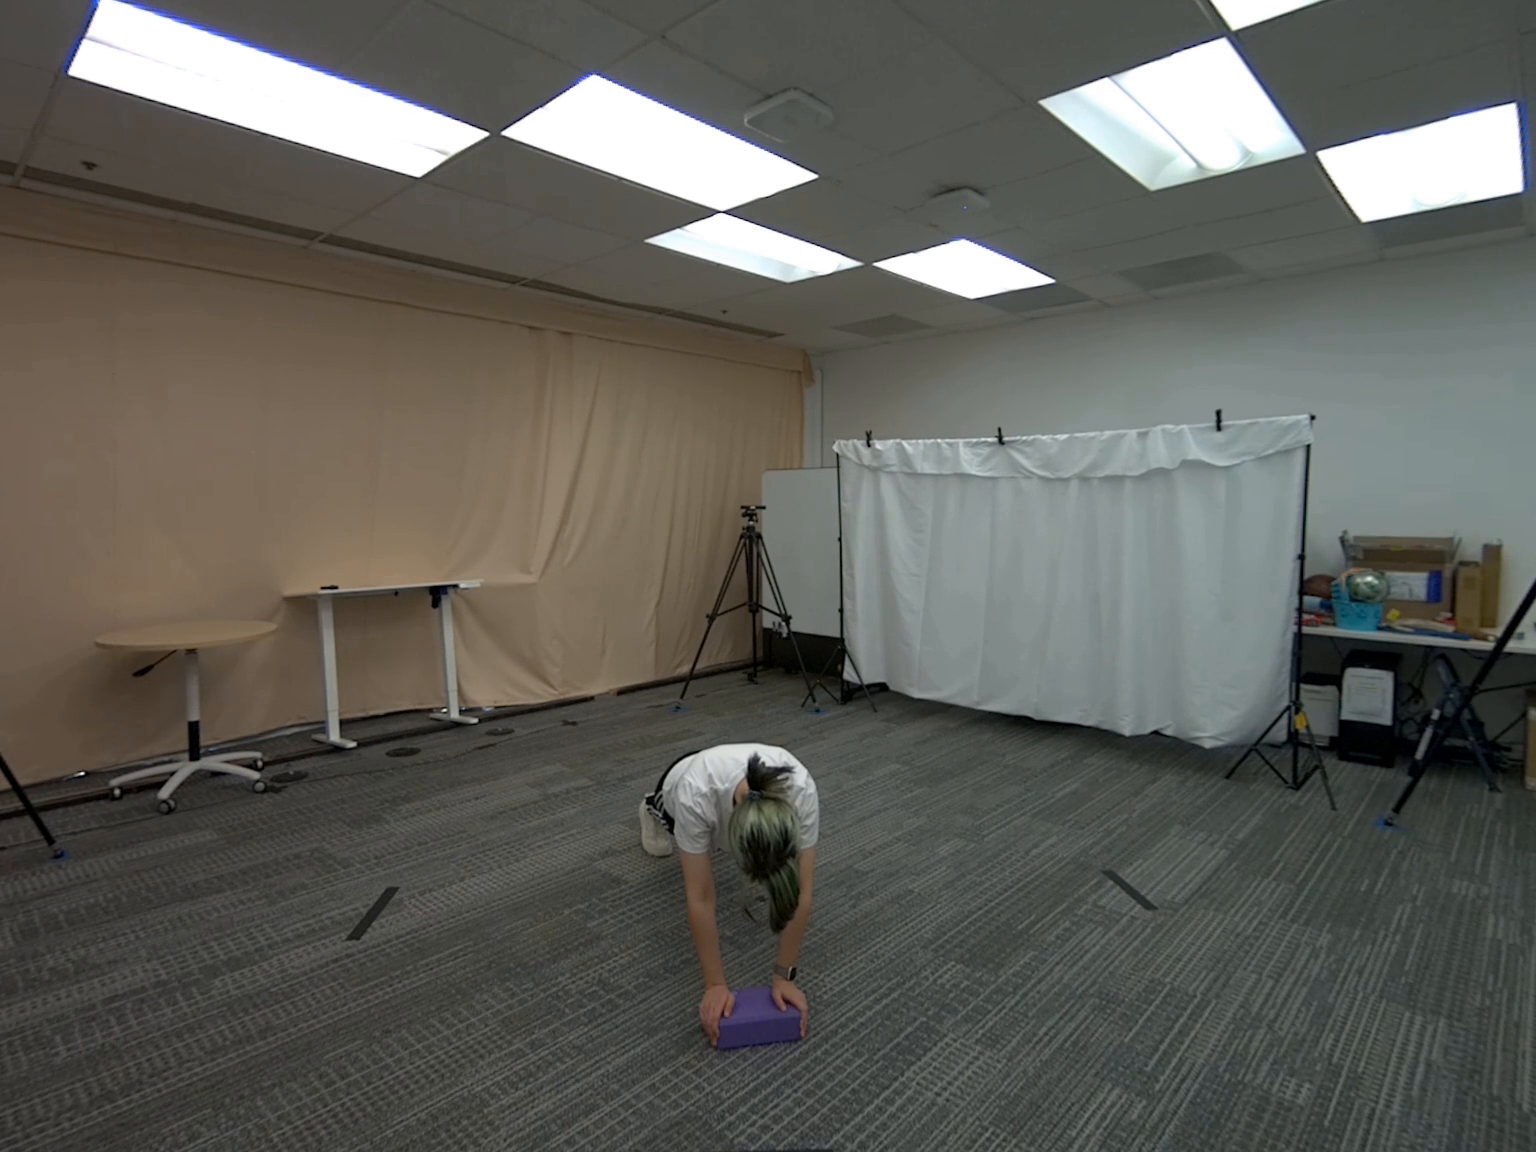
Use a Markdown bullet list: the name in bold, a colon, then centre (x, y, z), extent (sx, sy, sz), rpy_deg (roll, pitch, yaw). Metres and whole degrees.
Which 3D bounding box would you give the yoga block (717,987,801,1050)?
- **yoga block**: centre (-0.041, 1.169, 2.242), extent (0.227, 0.076, 0.151), rpy_deg (0, 4, -10)
